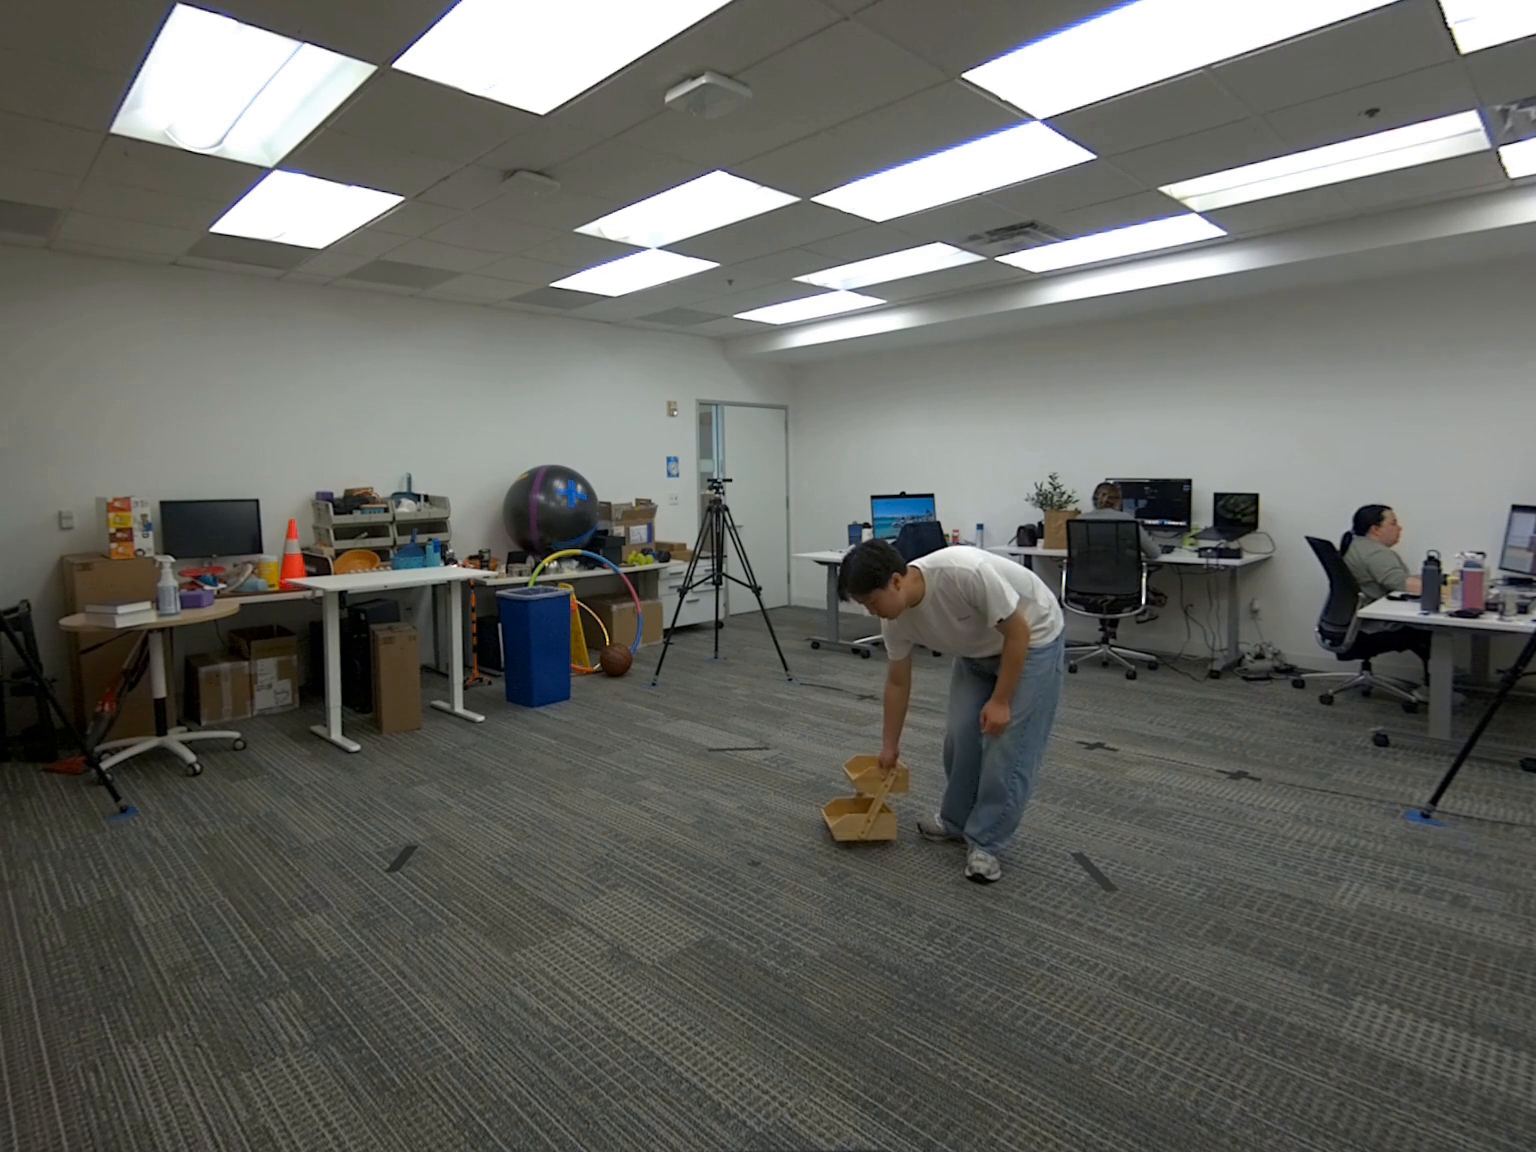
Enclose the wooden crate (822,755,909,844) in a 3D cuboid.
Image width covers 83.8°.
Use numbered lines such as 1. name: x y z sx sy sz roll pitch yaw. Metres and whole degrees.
1. wooden crate: 0.370 0.860 3.354 0.302 0.274 0.324 -1 -3 -1
